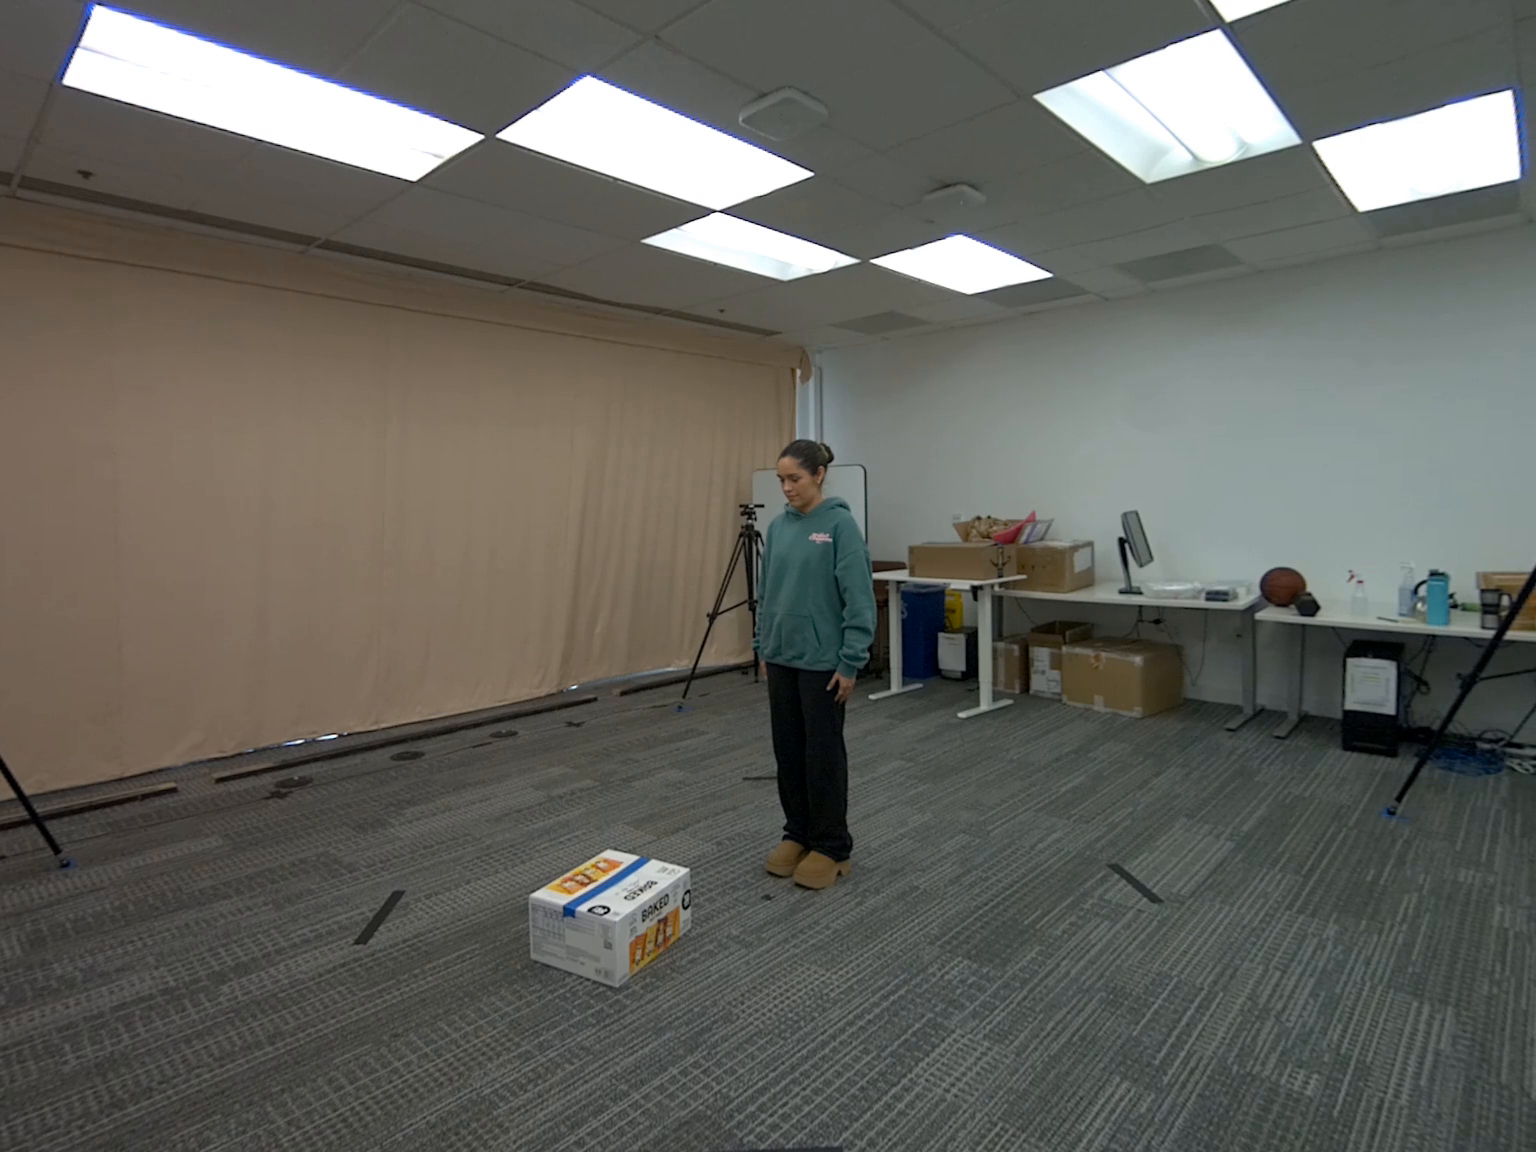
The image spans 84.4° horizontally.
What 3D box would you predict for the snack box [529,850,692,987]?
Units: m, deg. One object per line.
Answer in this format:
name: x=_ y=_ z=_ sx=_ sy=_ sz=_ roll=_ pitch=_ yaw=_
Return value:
snack box: x=-0.494 y=1.076 z=2.680 sx=0.350 sy=0.205 sz=0.395 roll=1 pitch=5 yaw=29
